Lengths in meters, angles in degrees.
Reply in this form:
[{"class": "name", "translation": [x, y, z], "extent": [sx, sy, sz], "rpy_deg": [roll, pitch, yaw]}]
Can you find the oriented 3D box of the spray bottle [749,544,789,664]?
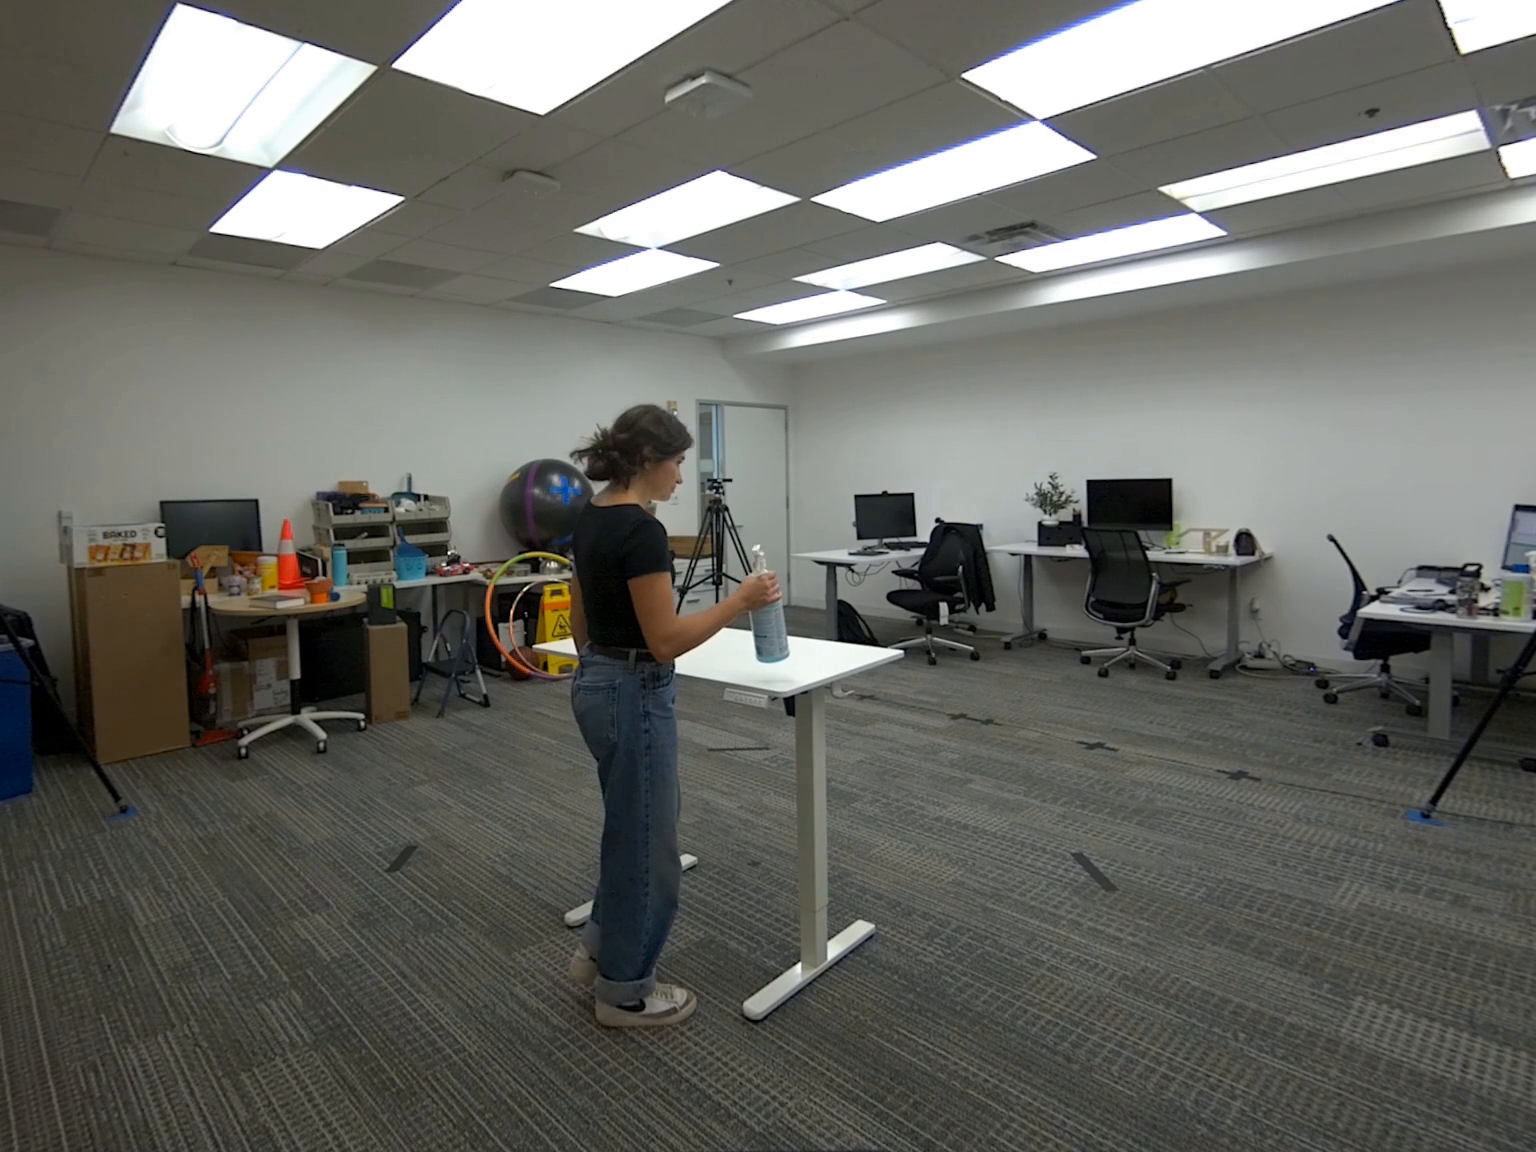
[{"class": "spray bottle", "translation": [-0.006, 0.065, 2.146], "extent": [0.089, 0.294, 0.089], "rpy_deg": [-2, 13, 32]}]
